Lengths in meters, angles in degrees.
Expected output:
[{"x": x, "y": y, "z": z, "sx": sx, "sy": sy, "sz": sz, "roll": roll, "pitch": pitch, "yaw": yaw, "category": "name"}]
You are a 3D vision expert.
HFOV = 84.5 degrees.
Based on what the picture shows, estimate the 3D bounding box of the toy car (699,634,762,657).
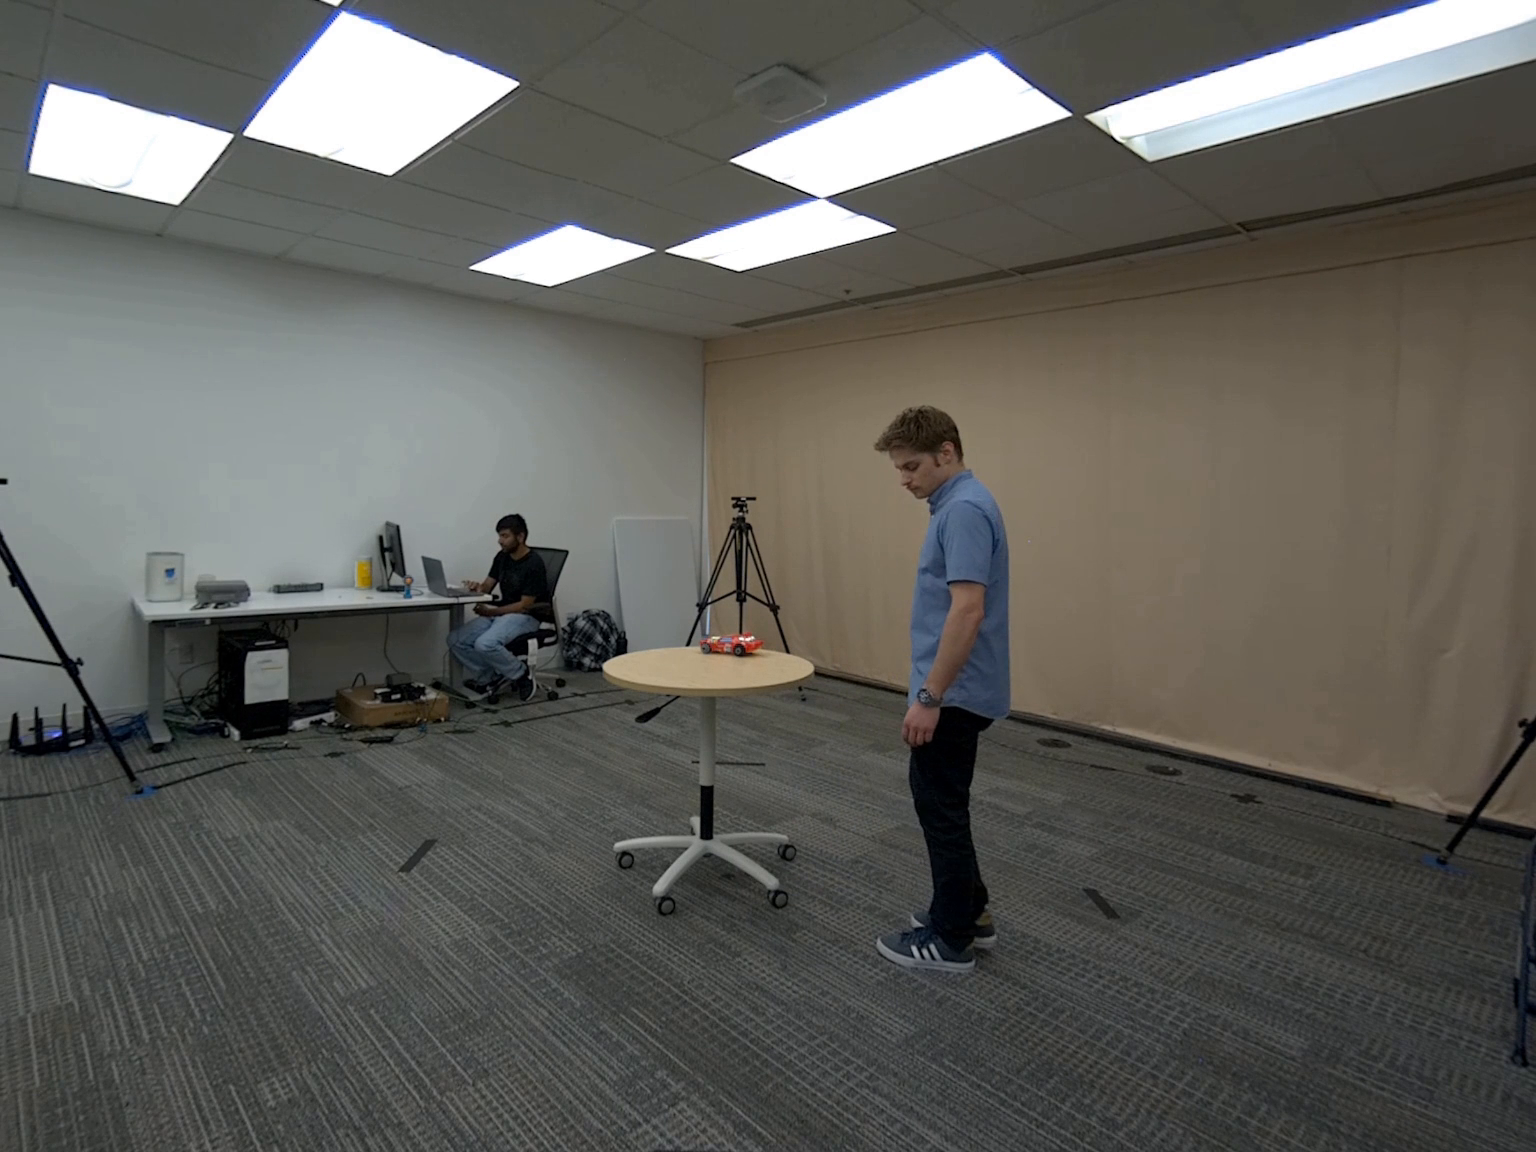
[{"x": -0.147, "y": 0.275, "z": 3.289, "sx": 0.258, "sy": 0.083, "sz": 0.128, "roll": -9, "pitch": 0, "yaw": 24, "category": "toy car"}]
